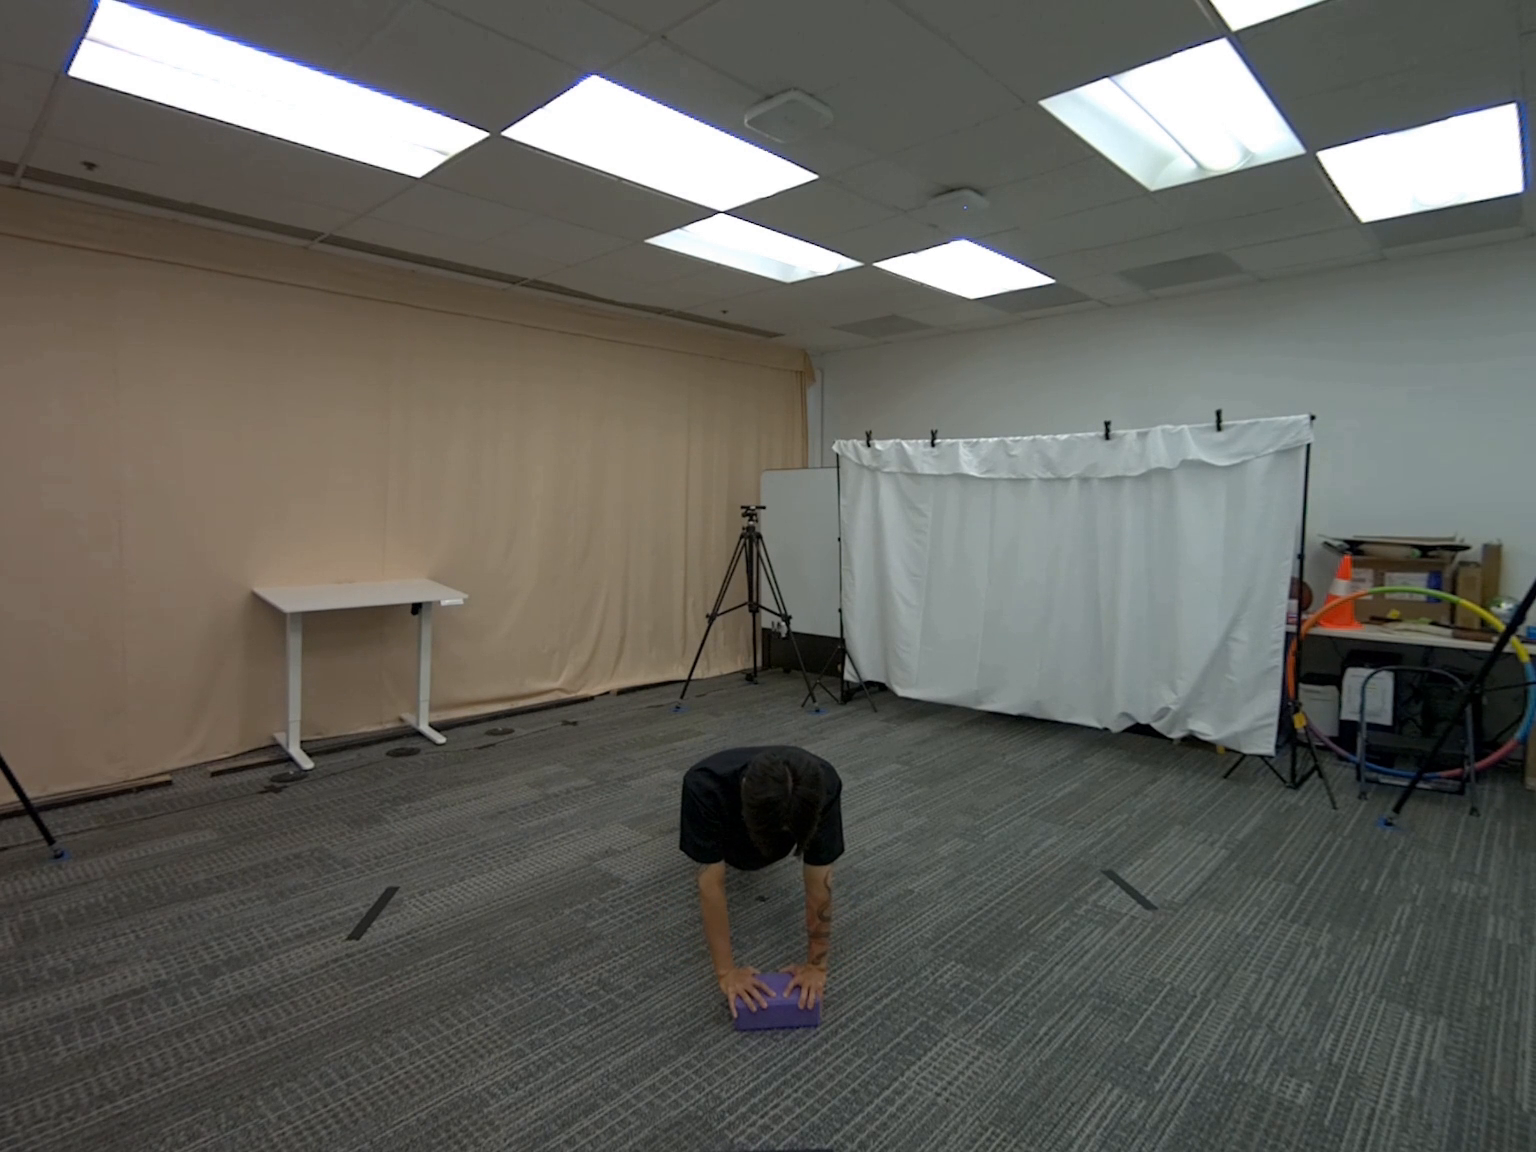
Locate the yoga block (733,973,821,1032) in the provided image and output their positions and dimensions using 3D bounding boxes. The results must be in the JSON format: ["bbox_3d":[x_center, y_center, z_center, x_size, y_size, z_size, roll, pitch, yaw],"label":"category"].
[{"bbox_3d":[0.017,1.155,2.307,0.227,0.076,0.151,1,5,-8],"label":"yoga block"}]
